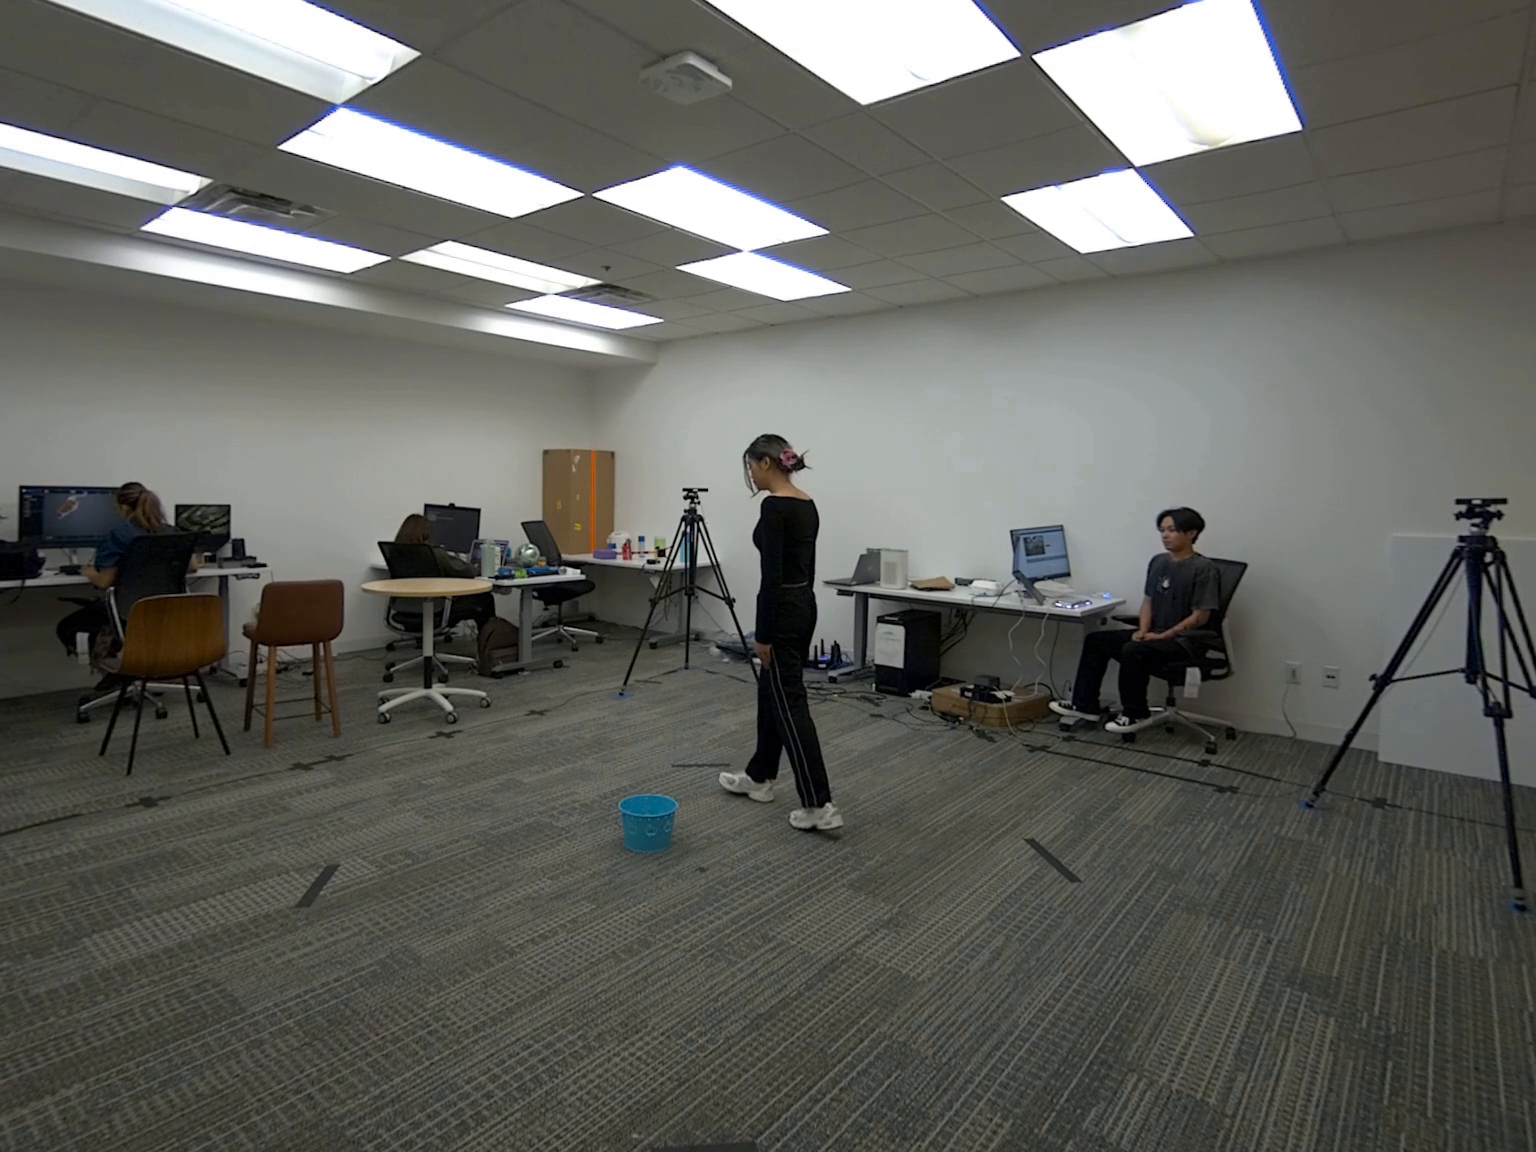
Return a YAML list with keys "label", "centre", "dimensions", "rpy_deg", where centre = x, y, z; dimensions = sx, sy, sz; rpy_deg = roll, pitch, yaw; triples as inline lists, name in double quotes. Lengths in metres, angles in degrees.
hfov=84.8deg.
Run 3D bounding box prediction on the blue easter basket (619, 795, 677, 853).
- label: "blue easter basket"
  centre: [-0.481, 0.965, 3.338]
  dimensions: [0.243, 0.155, 0.245]
  rpy_deg: [1, 5, -2]
